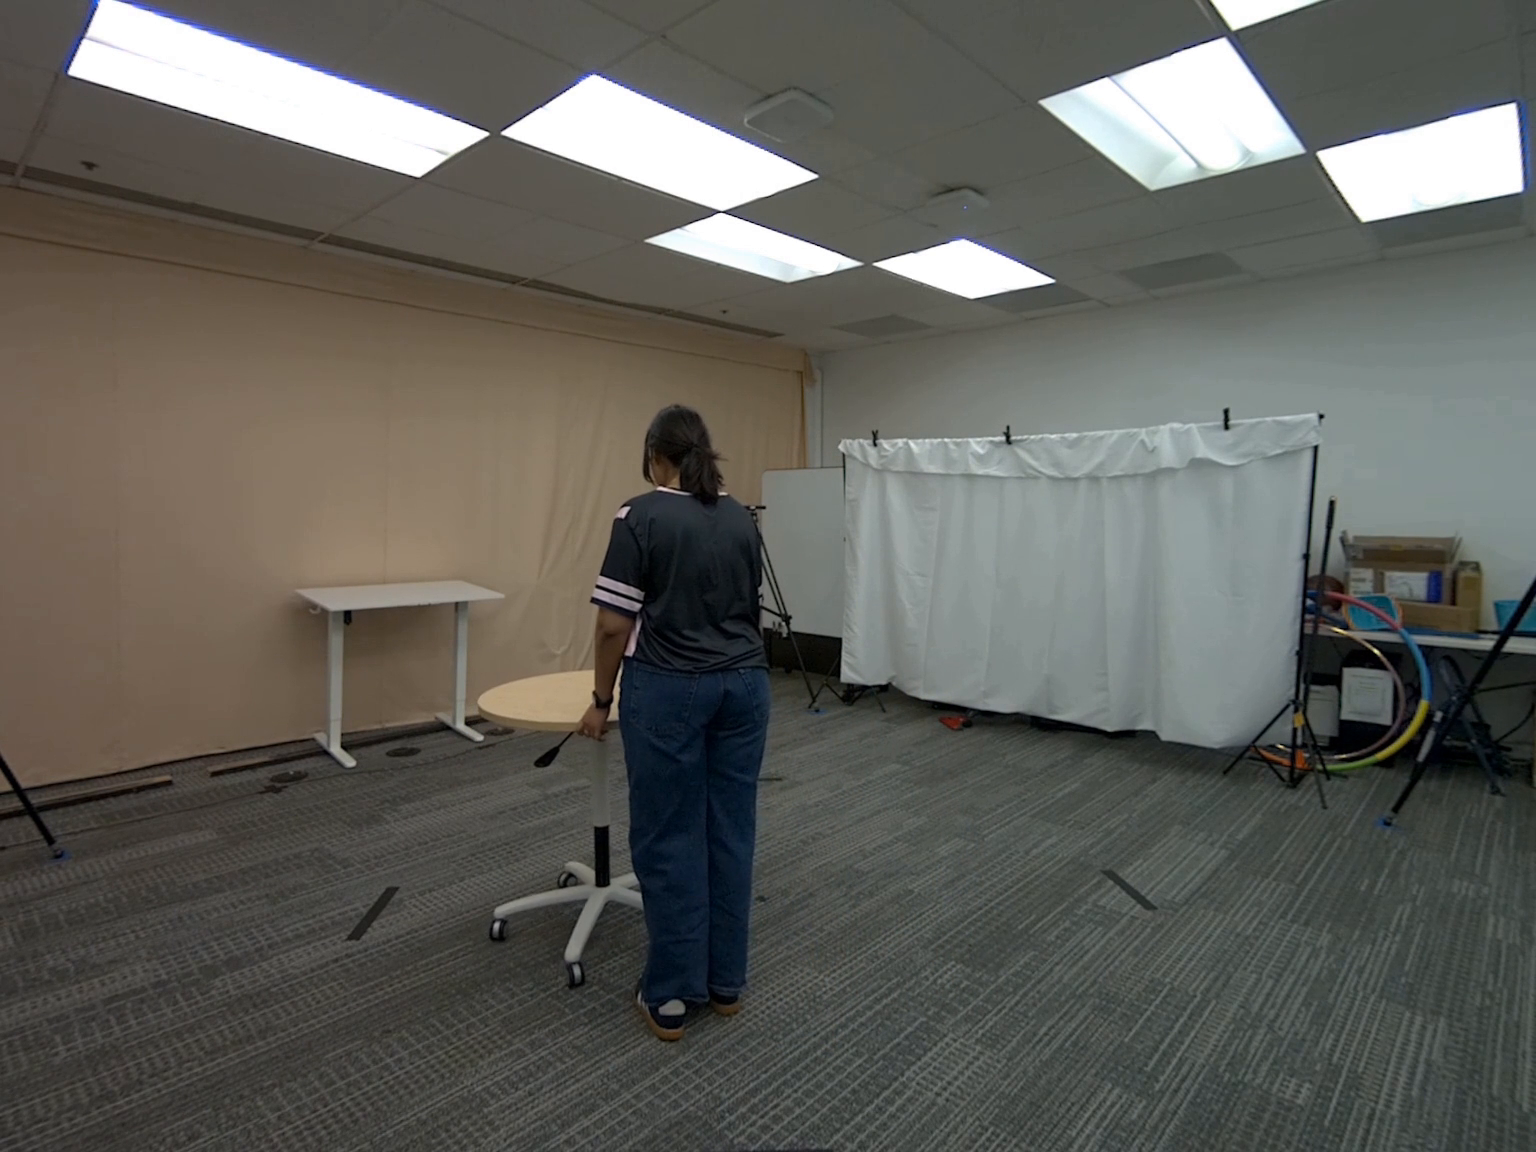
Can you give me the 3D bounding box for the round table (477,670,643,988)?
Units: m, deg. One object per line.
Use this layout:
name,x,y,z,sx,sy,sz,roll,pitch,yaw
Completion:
round table,-0.545,0.774,2.780,0.763,0.792,0.766,-1,4,-2
